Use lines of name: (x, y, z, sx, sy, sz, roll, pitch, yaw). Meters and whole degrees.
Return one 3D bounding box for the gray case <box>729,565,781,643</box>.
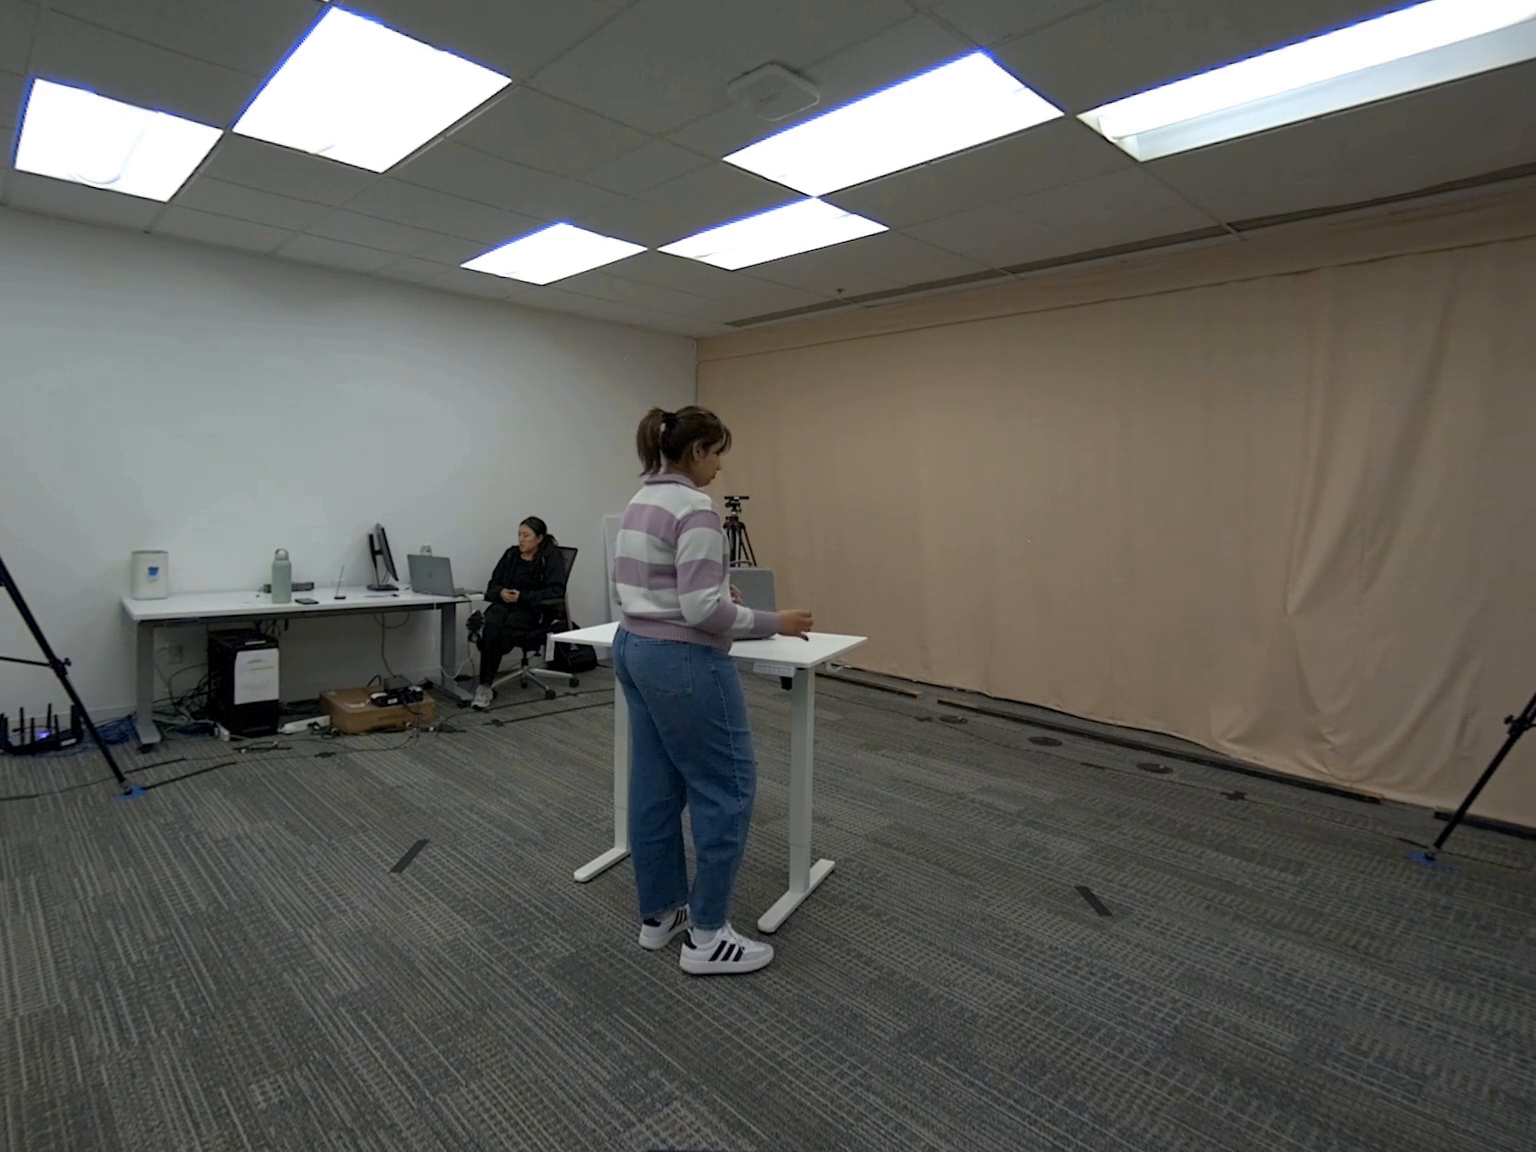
gray case: (-0.103, 0.099, 3.027, 0.252, 0.262, 0.105, 0, -10, -23)
